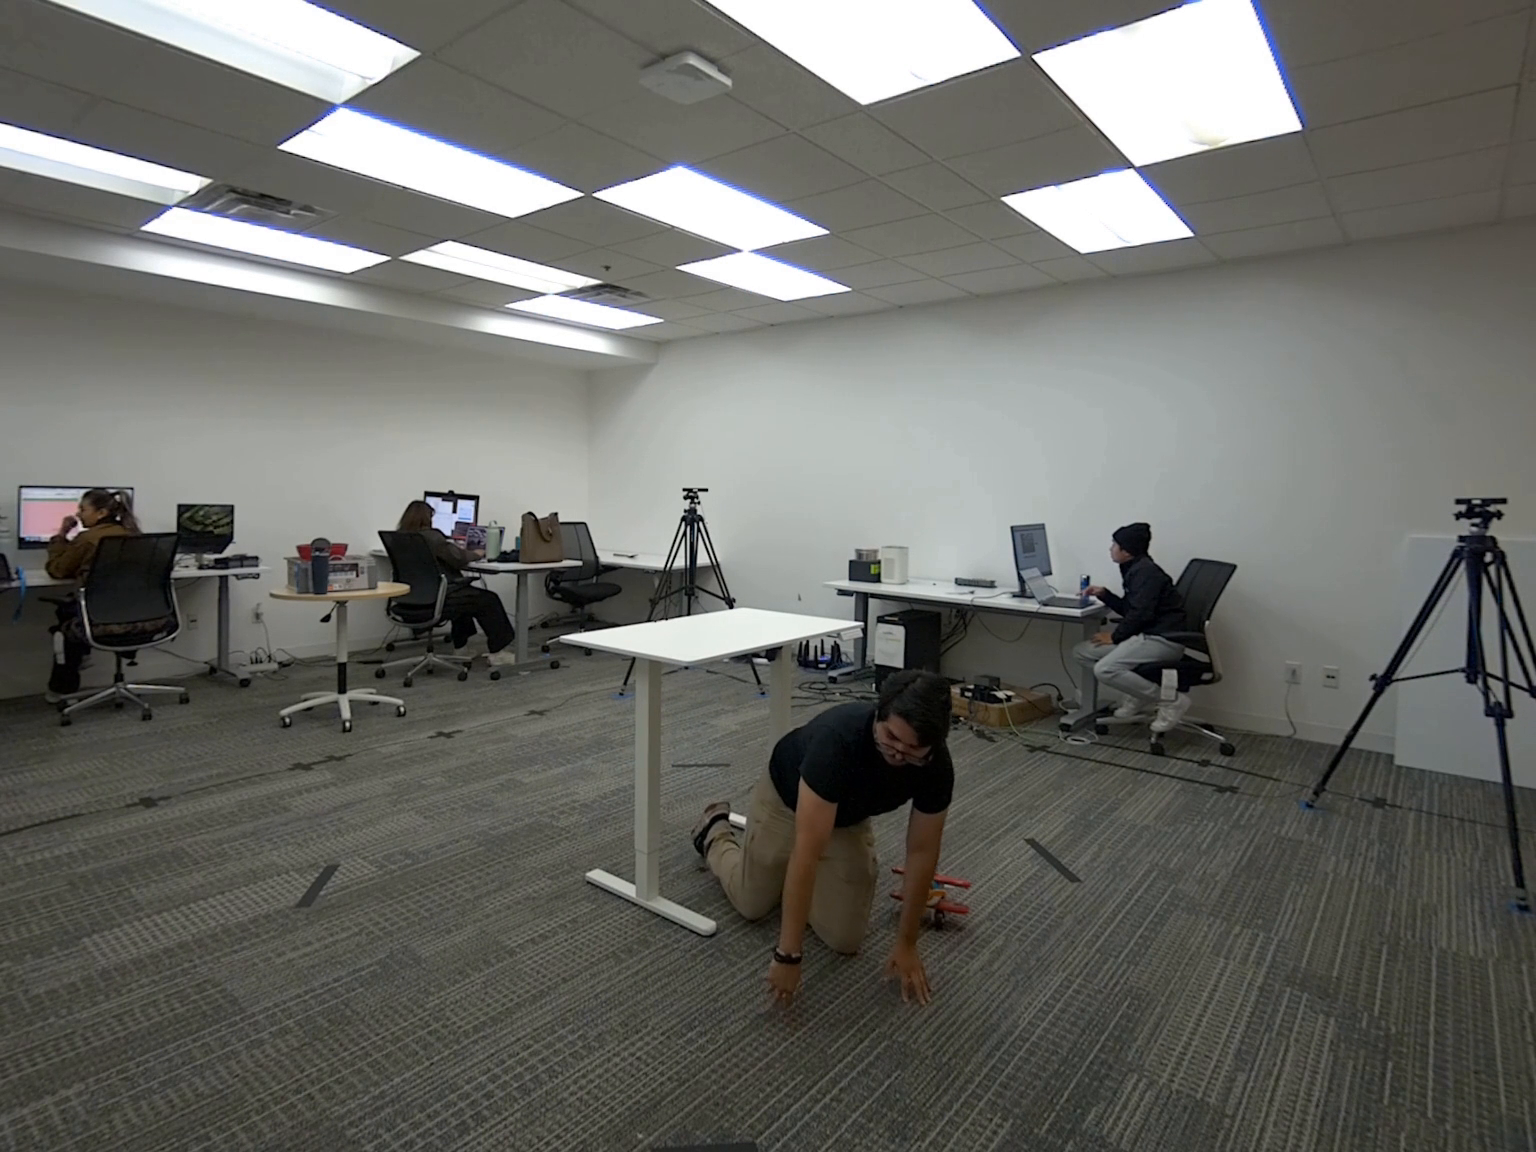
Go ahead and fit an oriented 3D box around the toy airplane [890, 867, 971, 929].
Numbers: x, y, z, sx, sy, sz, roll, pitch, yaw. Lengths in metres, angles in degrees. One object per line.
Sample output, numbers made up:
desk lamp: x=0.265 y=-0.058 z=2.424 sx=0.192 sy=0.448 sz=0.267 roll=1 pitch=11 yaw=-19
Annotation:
toy airplane: x=0.521 y=1.048 z=2.825 sx=0.249 sy=0.155 sz=0.262 roll=1 pitch=6 yaw=-6
